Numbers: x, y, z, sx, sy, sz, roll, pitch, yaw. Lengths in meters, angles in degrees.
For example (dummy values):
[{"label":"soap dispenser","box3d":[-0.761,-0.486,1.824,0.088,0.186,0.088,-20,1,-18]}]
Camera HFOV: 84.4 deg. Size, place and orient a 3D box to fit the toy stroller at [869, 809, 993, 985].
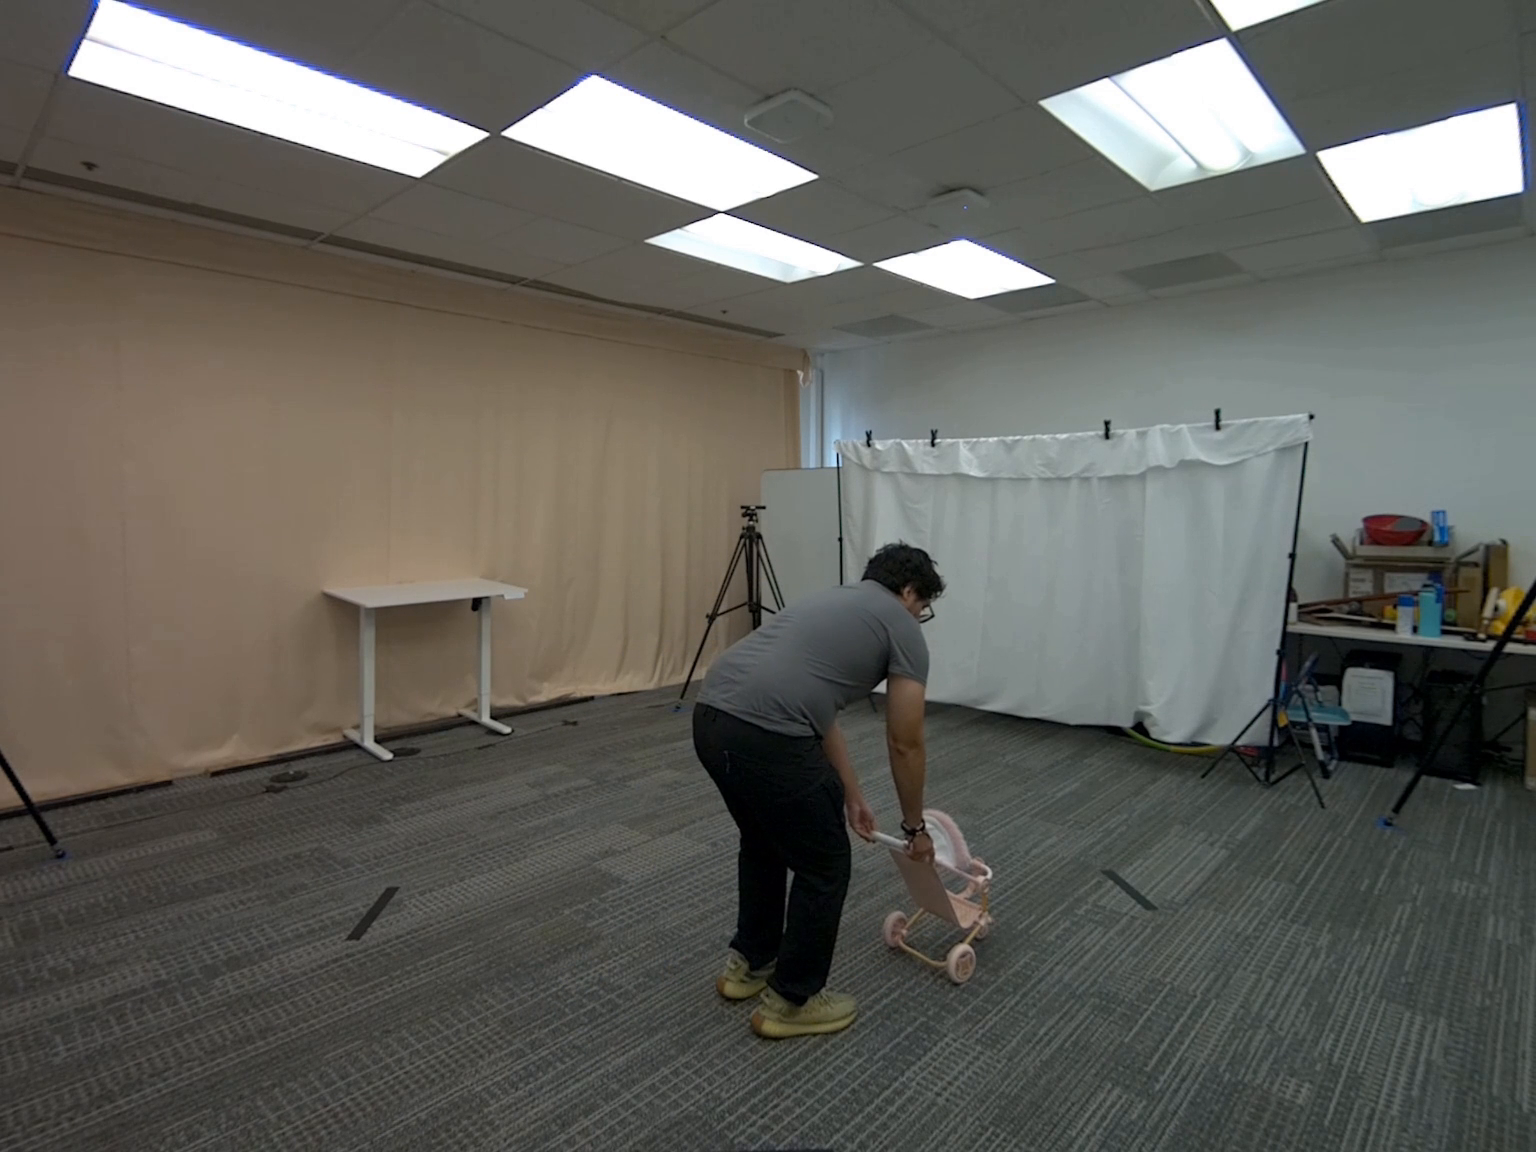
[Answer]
[{"label":"toy stroller","box3d":[0.534,0.953,2.579,0.334,0.529,0.290,-21,15,-32]}]
